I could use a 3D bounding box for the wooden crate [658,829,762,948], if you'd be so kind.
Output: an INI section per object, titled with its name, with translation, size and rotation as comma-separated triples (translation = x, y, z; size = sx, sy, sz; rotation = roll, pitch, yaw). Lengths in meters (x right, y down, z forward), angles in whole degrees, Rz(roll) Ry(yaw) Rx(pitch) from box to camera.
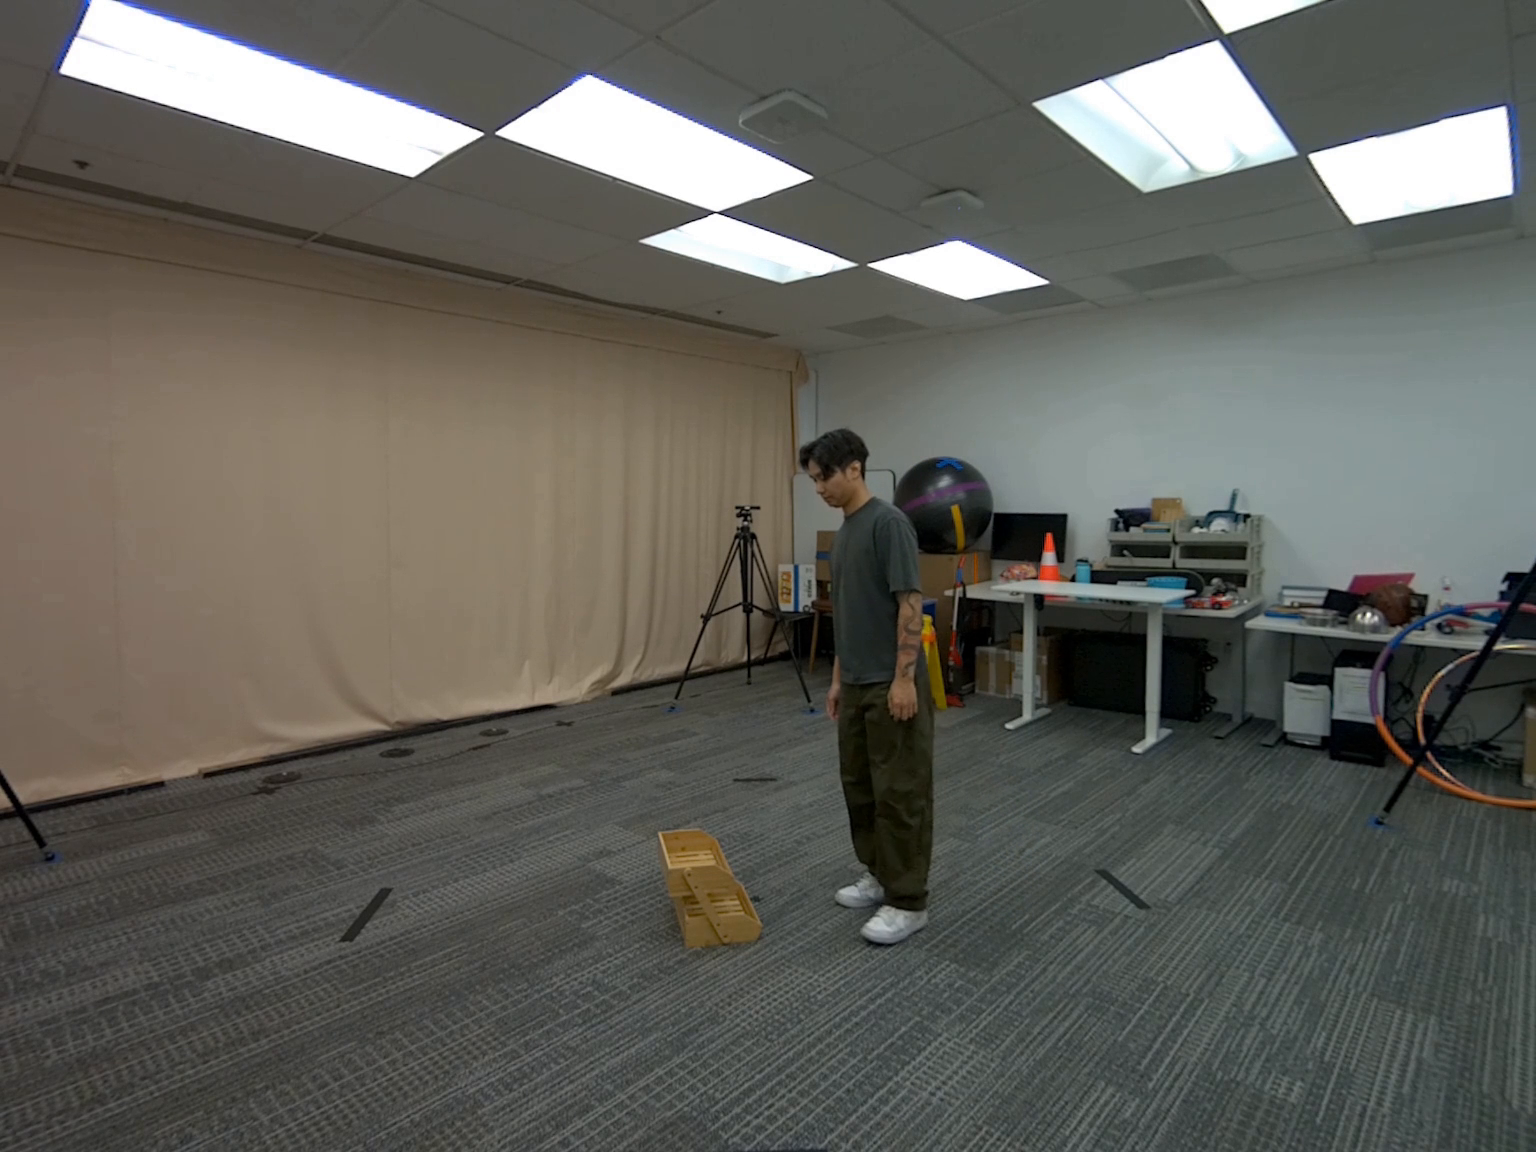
[wooden crate]
translation = -0.196, 1.032, 2.818
size = 0.298, 0.273, 0.329
rotation = -2, 4, -12
